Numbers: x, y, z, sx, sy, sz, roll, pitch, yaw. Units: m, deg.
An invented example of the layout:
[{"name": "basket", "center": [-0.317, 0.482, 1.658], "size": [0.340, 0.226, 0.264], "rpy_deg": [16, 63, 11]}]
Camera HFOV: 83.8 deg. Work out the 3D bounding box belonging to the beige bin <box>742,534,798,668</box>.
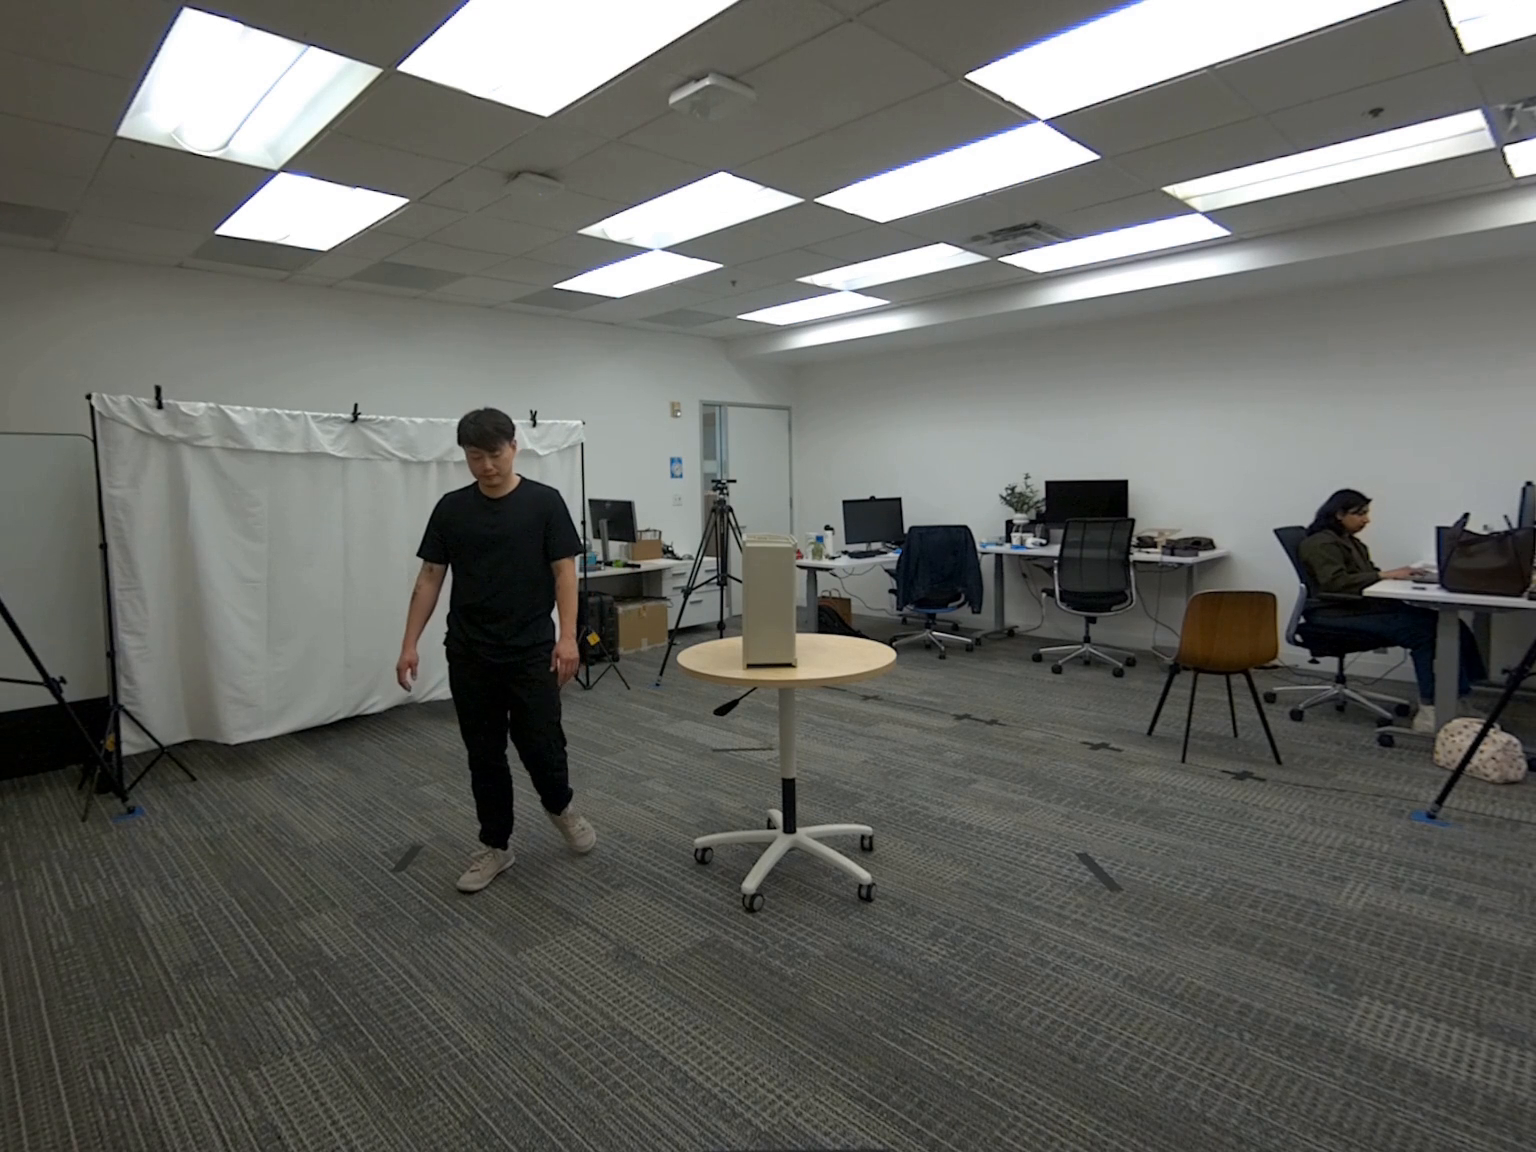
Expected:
[{"name": "beige bin", "center": [-0.008, 0.072, 2.946], "size": [0.189, 0.421, 0.378], "rpy_deg": [0, 5, 2]}]
